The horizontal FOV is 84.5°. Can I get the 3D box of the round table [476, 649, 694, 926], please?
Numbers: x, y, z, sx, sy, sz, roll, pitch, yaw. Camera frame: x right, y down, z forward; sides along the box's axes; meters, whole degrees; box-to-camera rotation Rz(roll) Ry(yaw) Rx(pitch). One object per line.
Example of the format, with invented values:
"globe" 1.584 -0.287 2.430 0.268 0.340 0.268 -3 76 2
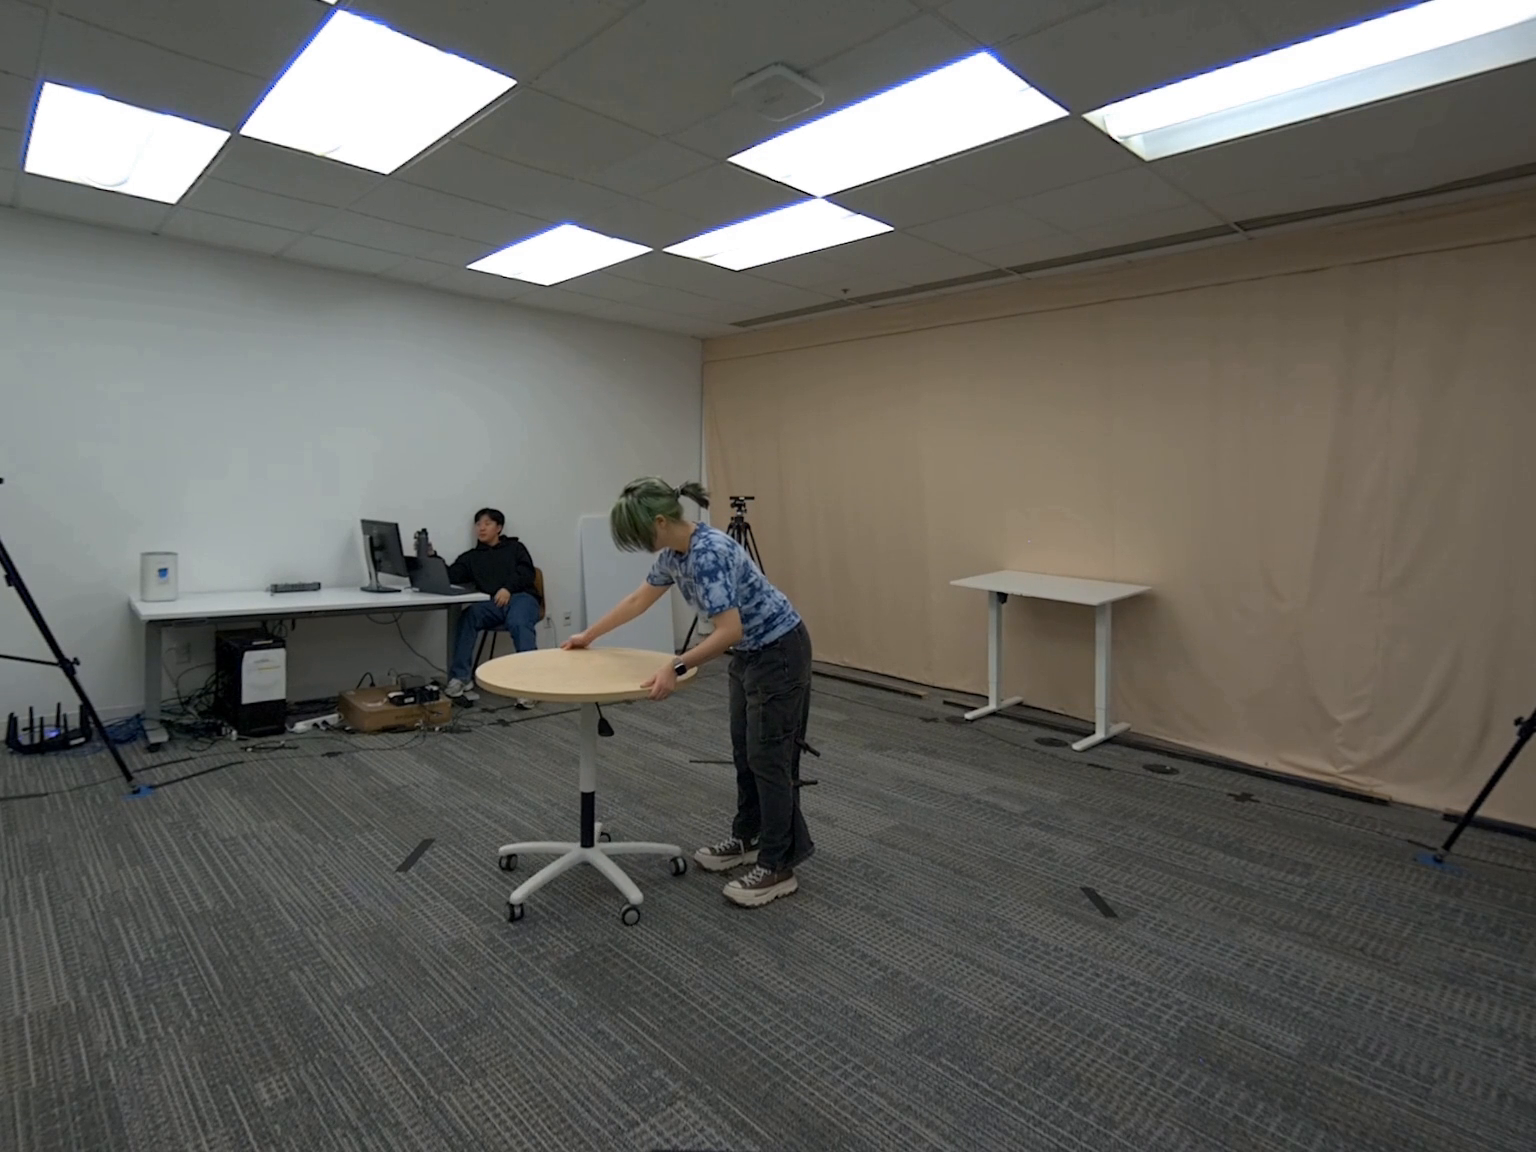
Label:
"round table" -0.643 0.717 2.977 0.763 0.792 0.767 1 4 -1
